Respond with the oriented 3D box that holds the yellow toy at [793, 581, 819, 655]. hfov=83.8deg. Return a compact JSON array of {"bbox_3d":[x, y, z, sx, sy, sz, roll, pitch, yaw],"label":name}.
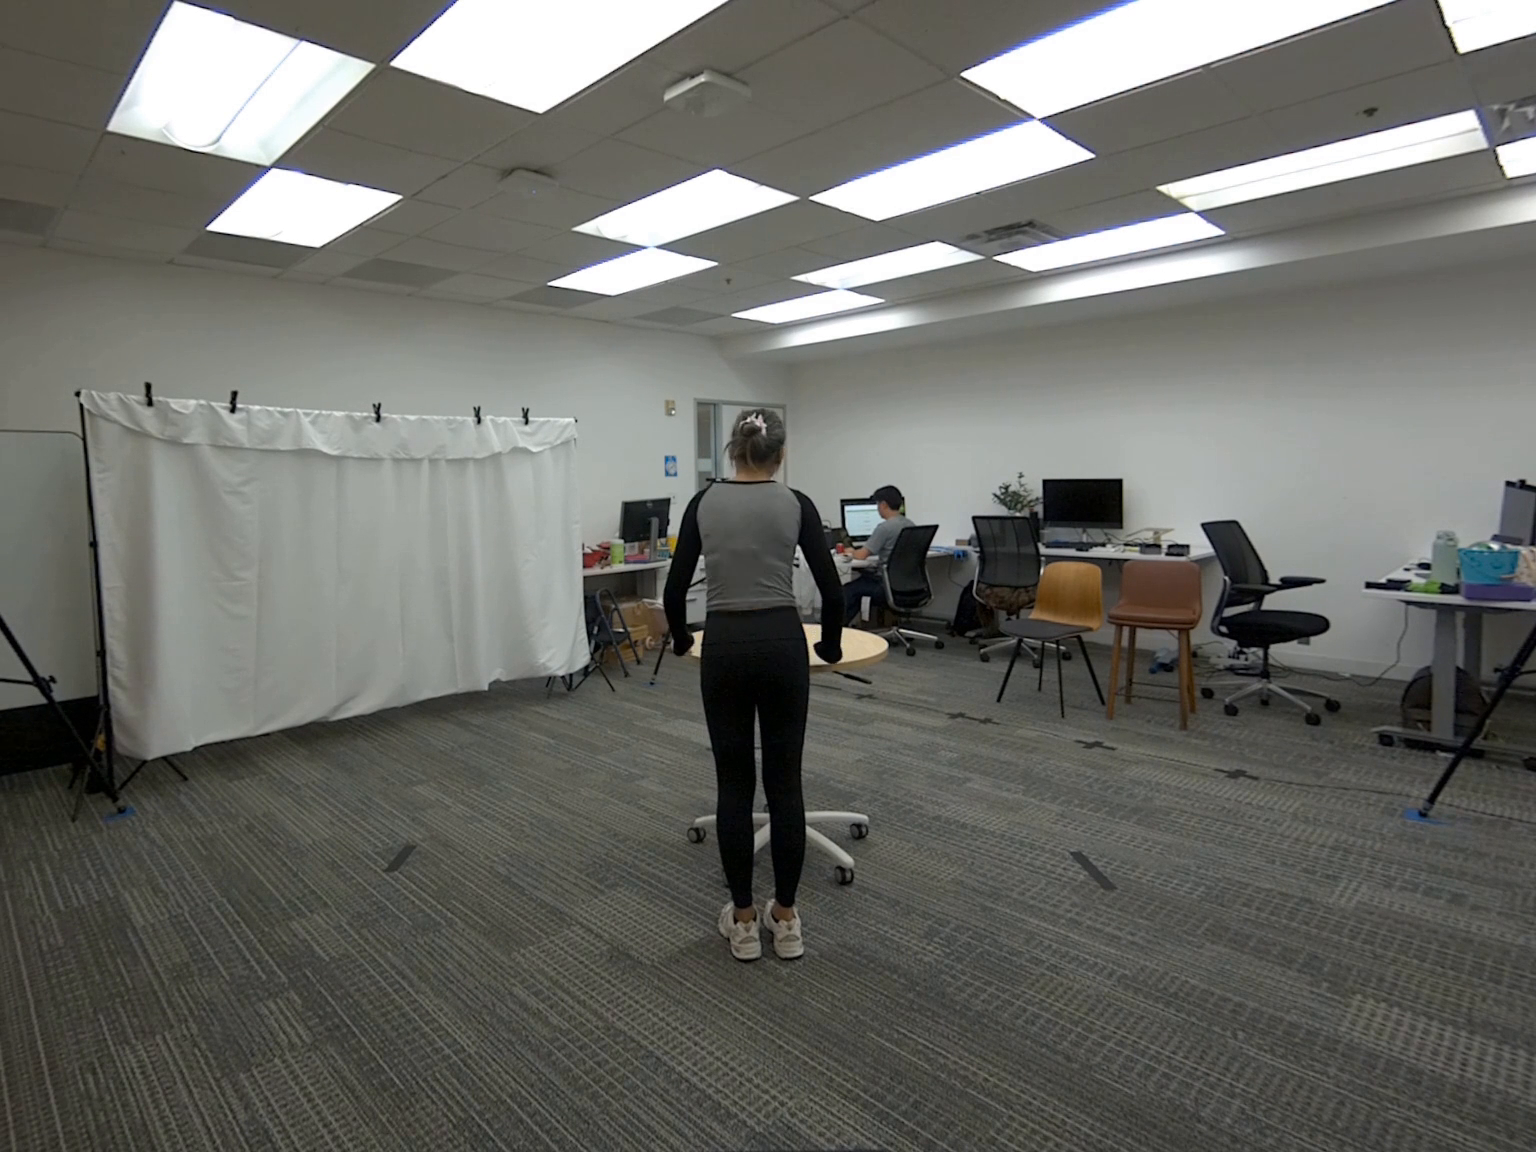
[{"bbox_3d":[0.040,0.145,3.016,0.189,0.230,0.210,-2,6,-25],"label":"yellow toy"}]
